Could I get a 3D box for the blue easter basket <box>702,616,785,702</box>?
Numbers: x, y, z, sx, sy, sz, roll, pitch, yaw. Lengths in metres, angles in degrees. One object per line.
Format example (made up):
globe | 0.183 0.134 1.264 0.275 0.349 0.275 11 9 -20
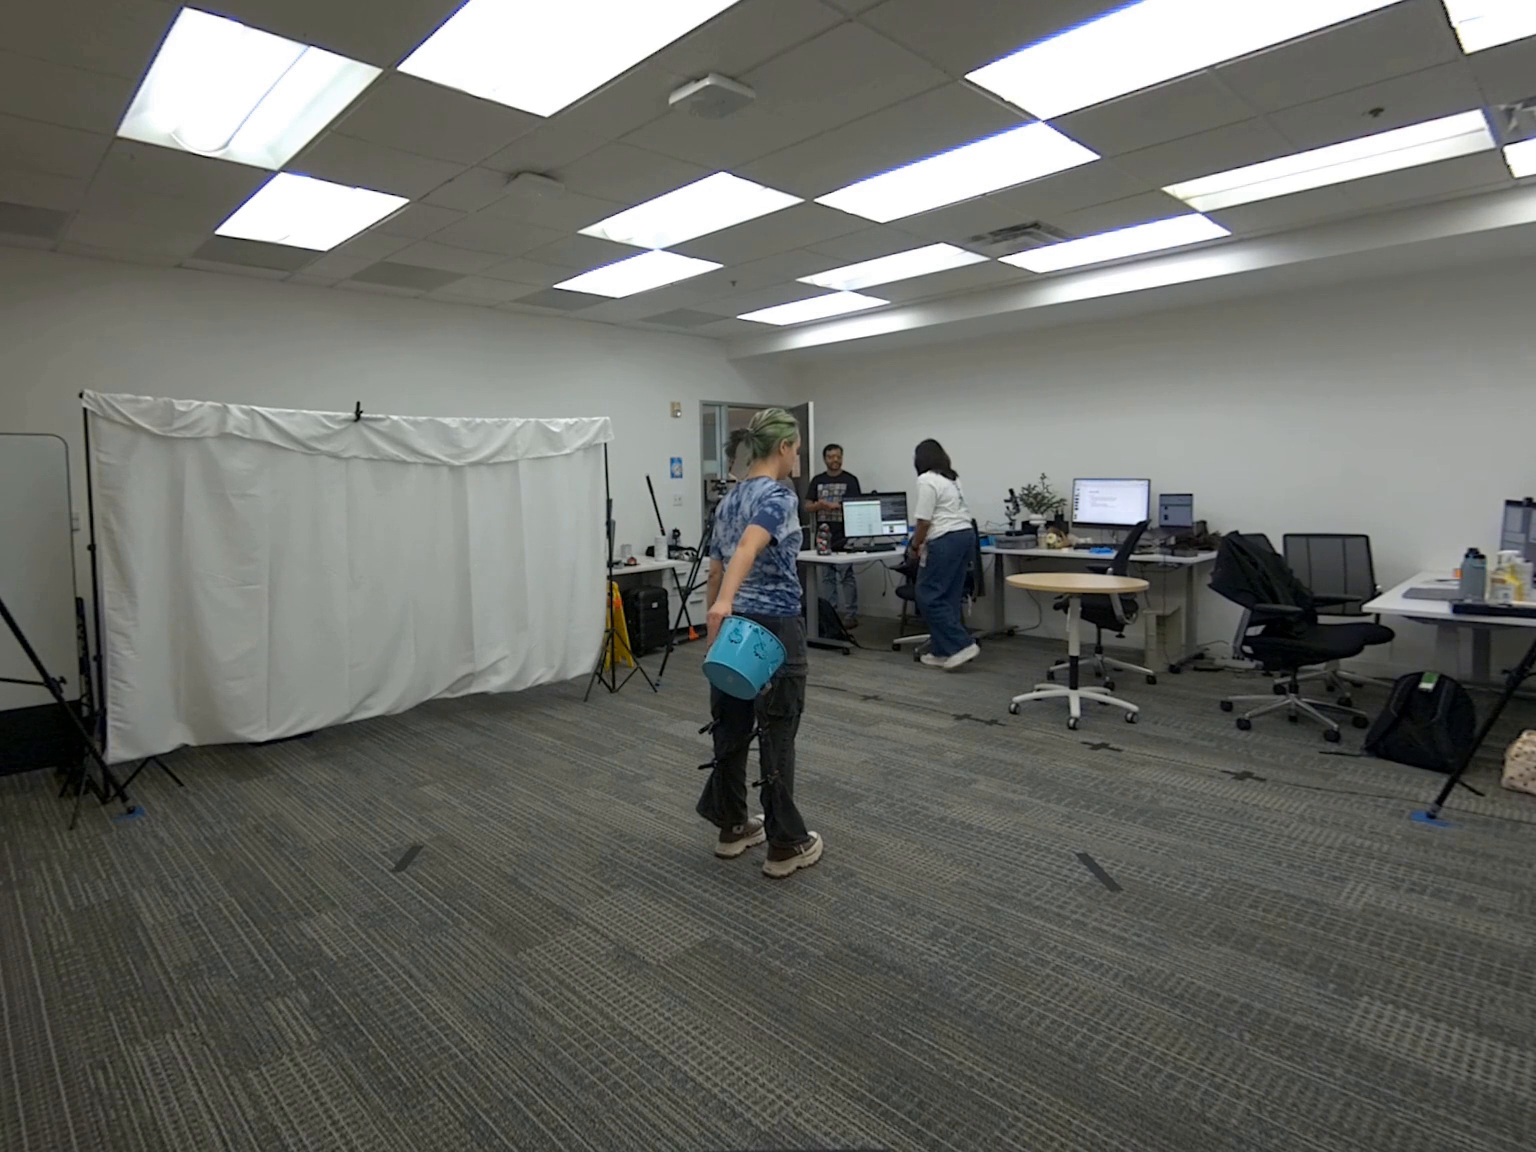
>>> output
blue easter basket | -0.067 0.267 2.552 0.251 0.235 0.157 3 49 41
